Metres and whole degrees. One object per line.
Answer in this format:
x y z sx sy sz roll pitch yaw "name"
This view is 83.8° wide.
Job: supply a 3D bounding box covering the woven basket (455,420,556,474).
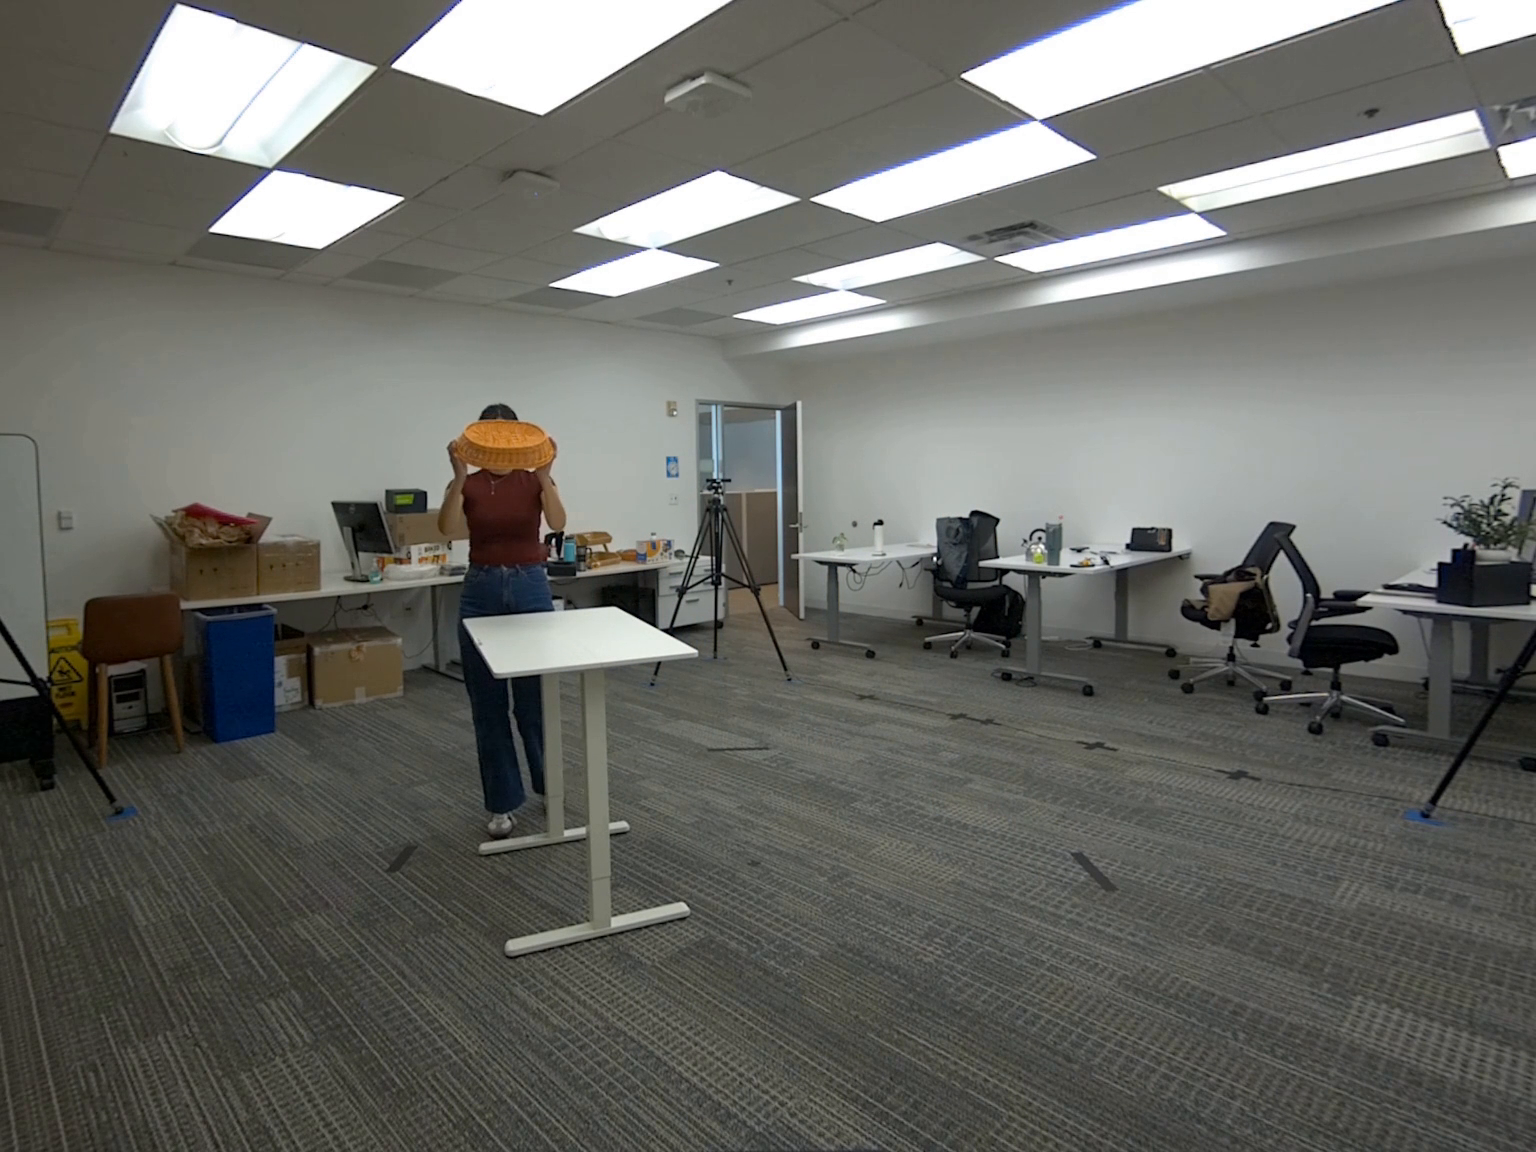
-0.930 -0.474 3.027 0.343 0.072 0.262 -6 43 -27 "woven basket"
